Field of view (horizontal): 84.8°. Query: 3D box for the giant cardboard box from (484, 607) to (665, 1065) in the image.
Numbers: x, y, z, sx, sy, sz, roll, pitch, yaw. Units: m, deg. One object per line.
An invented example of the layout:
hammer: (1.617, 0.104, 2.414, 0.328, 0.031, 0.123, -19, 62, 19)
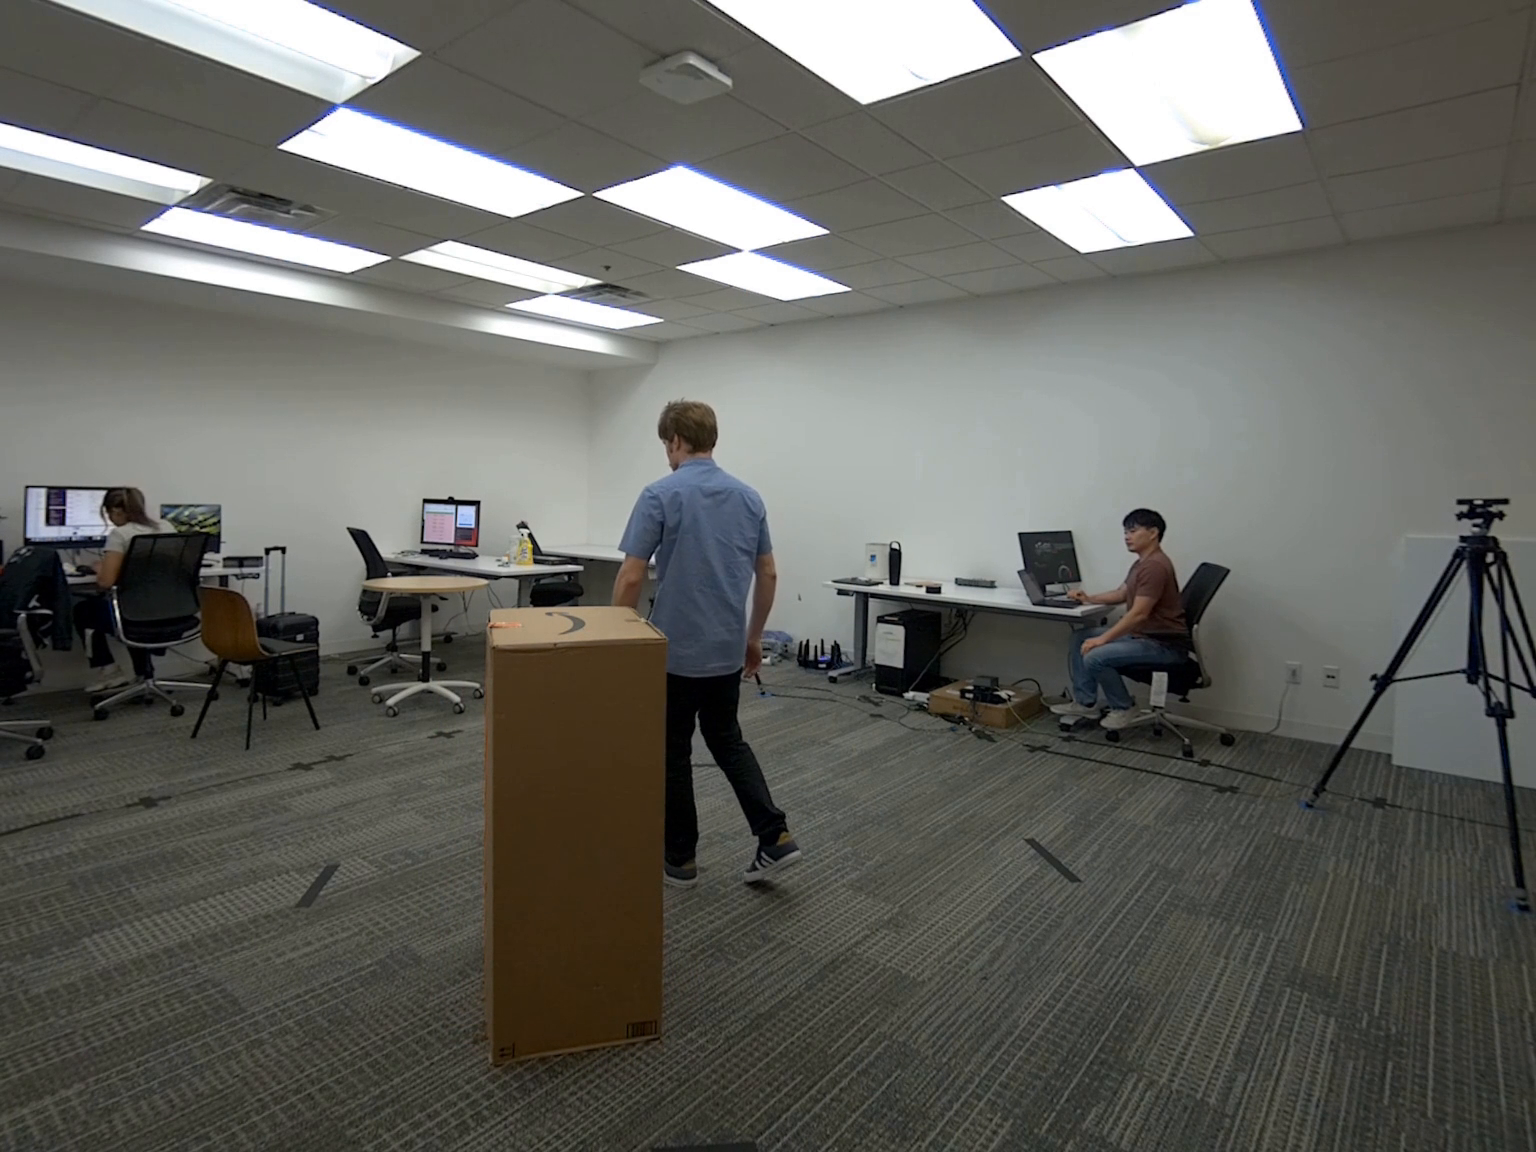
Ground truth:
giant cardboard box: (-0.561, 0.634, 2.327, 0.418, 1.022, 0.590, 0, 4, -19)
